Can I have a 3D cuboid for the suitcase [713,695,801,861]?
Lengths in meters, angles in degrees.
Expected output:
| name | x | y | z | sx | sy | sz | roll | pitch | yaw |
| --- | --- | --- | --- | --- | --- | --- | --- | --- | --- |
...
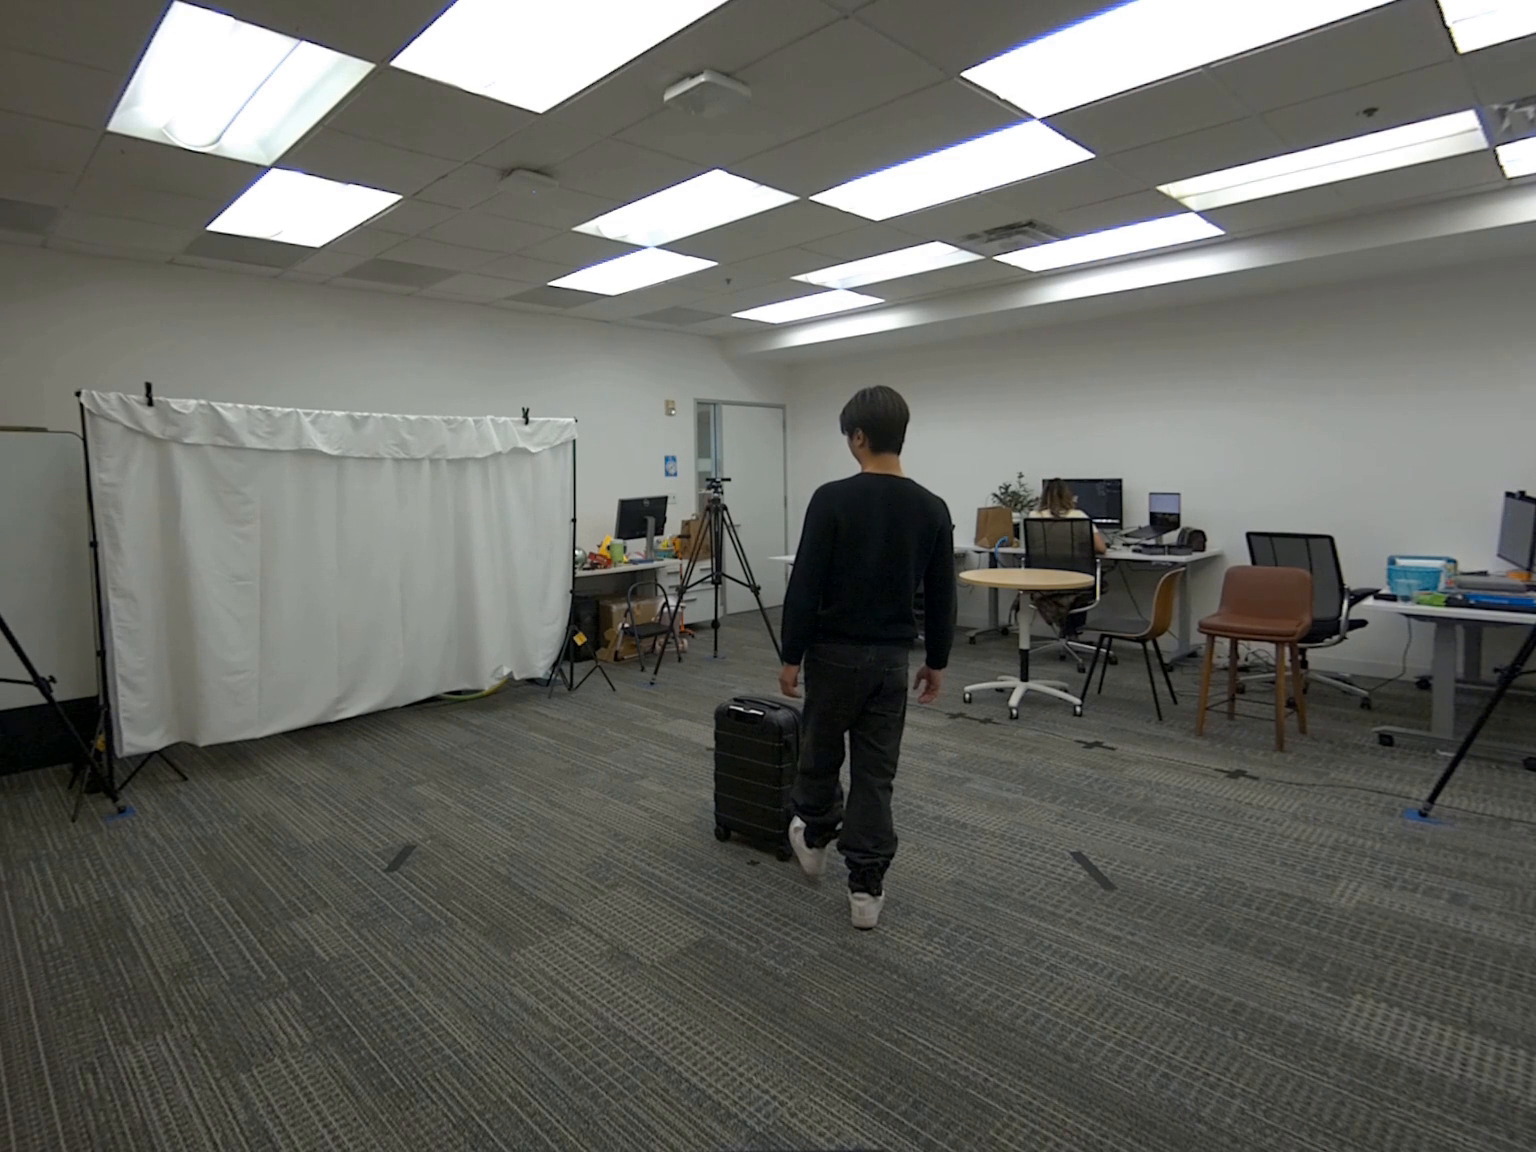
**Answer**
| name | x | y | z | sx | sy | sz | roll | pitch | yaw |
| --- | --- | --- | --- | --- | --- | --- | --- | --- | --- |
| suitcase | -0.014 | 0.746 | 3.298 | 0.386 | 0.548 | 0.242 | 2 | 4 | 39 |
